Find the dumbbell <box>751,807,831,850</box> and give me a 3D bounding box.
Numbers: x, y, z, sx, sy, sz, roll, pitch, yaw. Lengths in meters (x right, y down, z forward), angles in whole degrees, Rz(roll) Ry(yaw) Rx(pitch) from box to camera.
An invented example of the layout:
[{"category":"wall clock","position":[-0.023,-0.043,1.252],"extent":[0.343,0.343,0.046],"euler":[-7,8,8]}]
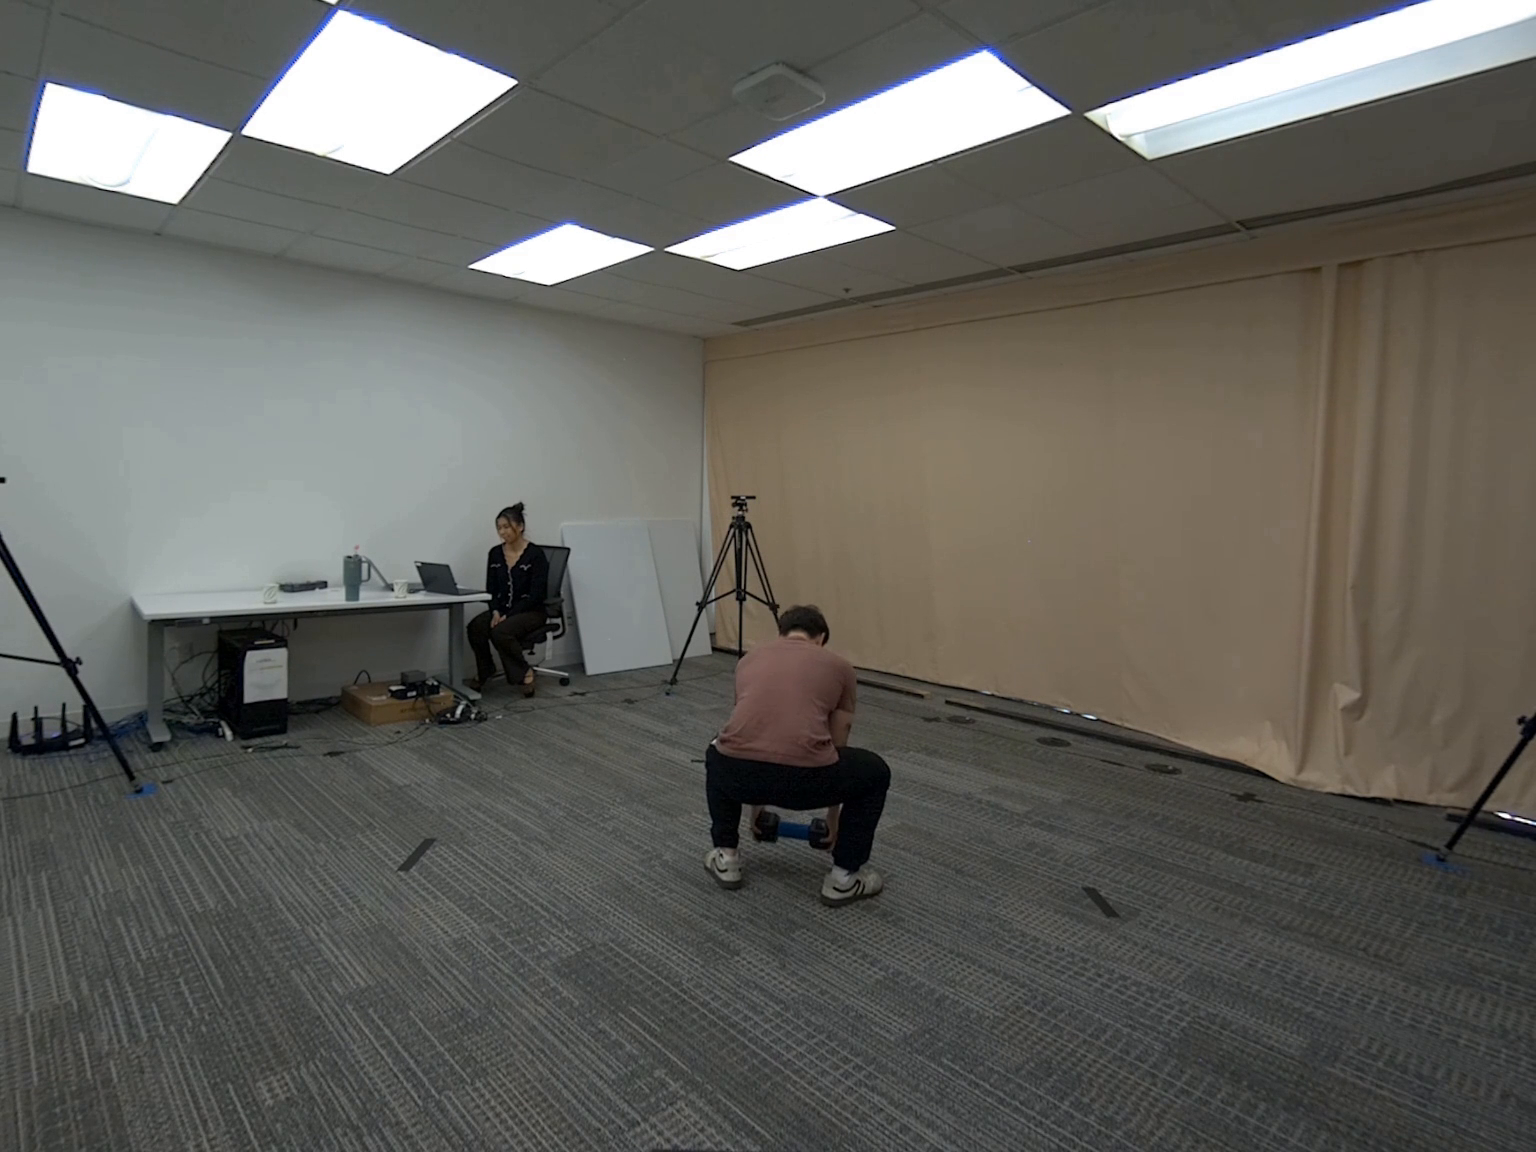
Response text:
[{"category":"dumbbell","position":[0.089,0.959,3.200],"extent":[0.298,0.110,0.120],"euler":[4,-20,18]}]
